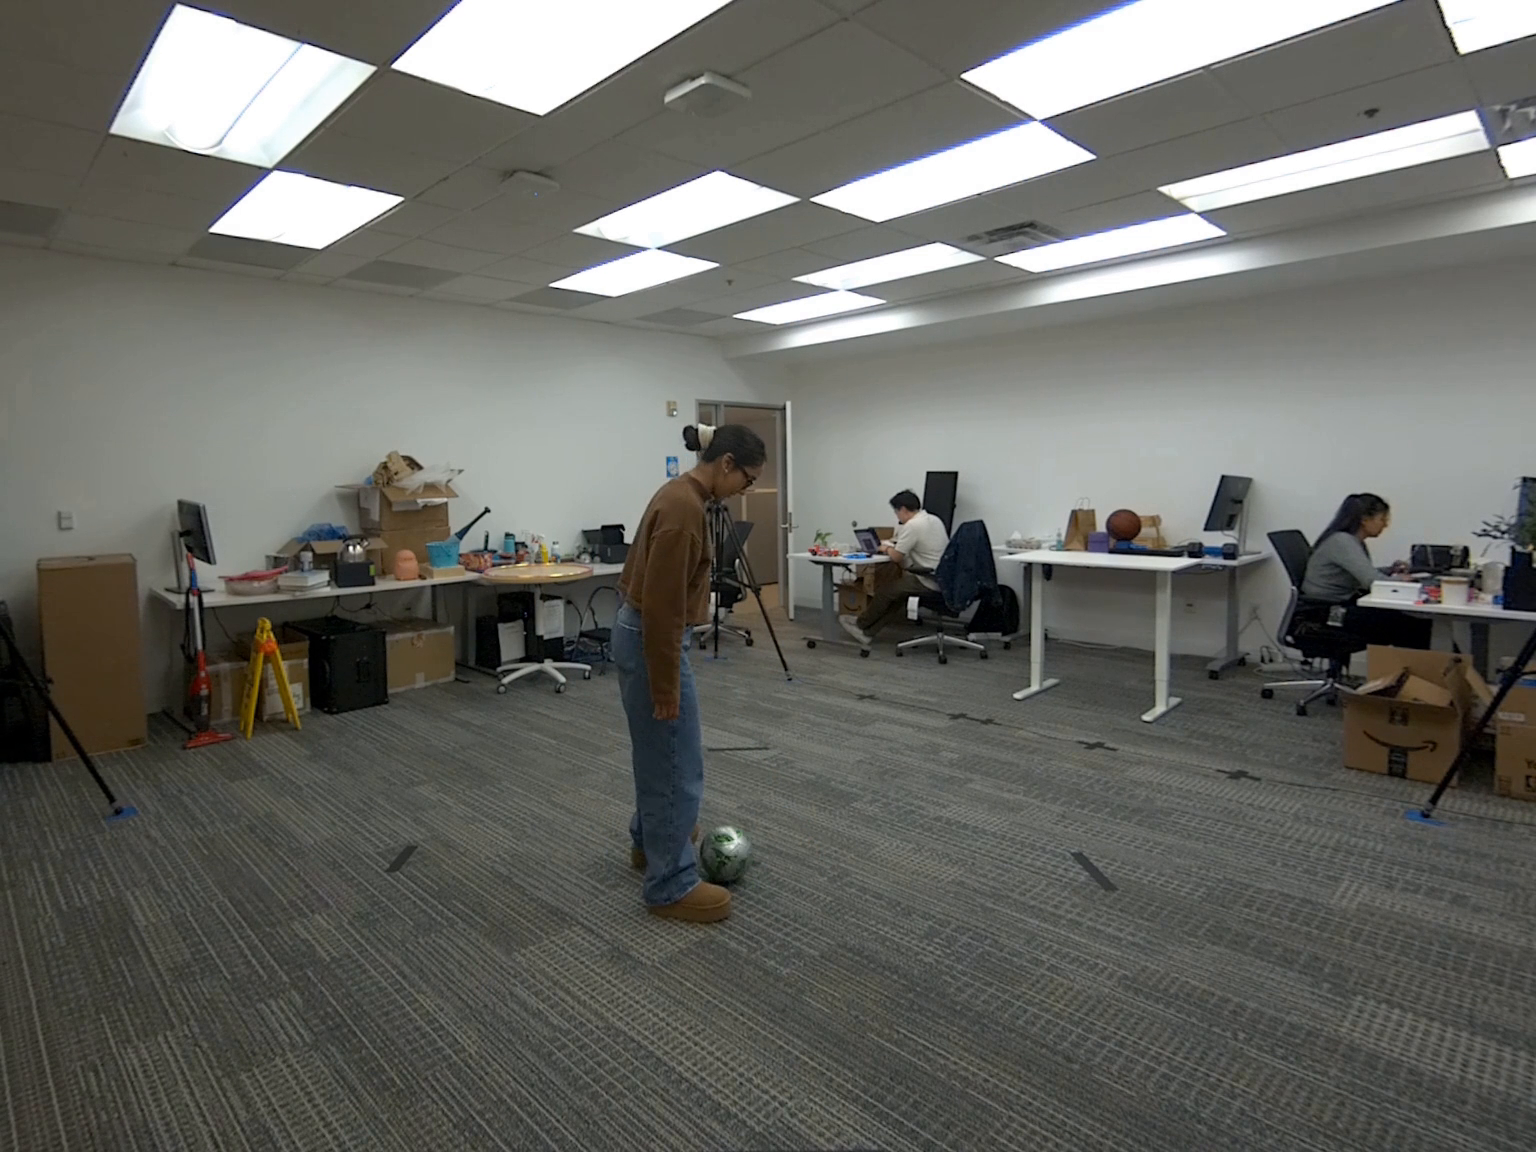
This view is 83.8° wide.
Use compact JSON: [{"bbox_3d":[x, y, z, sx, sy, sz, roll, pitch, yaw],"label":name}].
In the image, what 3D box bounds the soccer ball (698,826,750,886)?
[{"bbox_3d":[-0.142,0.965,2.969,0.187,0.187,0.188,-1,5,-2],"label":"soccer ball"}]
